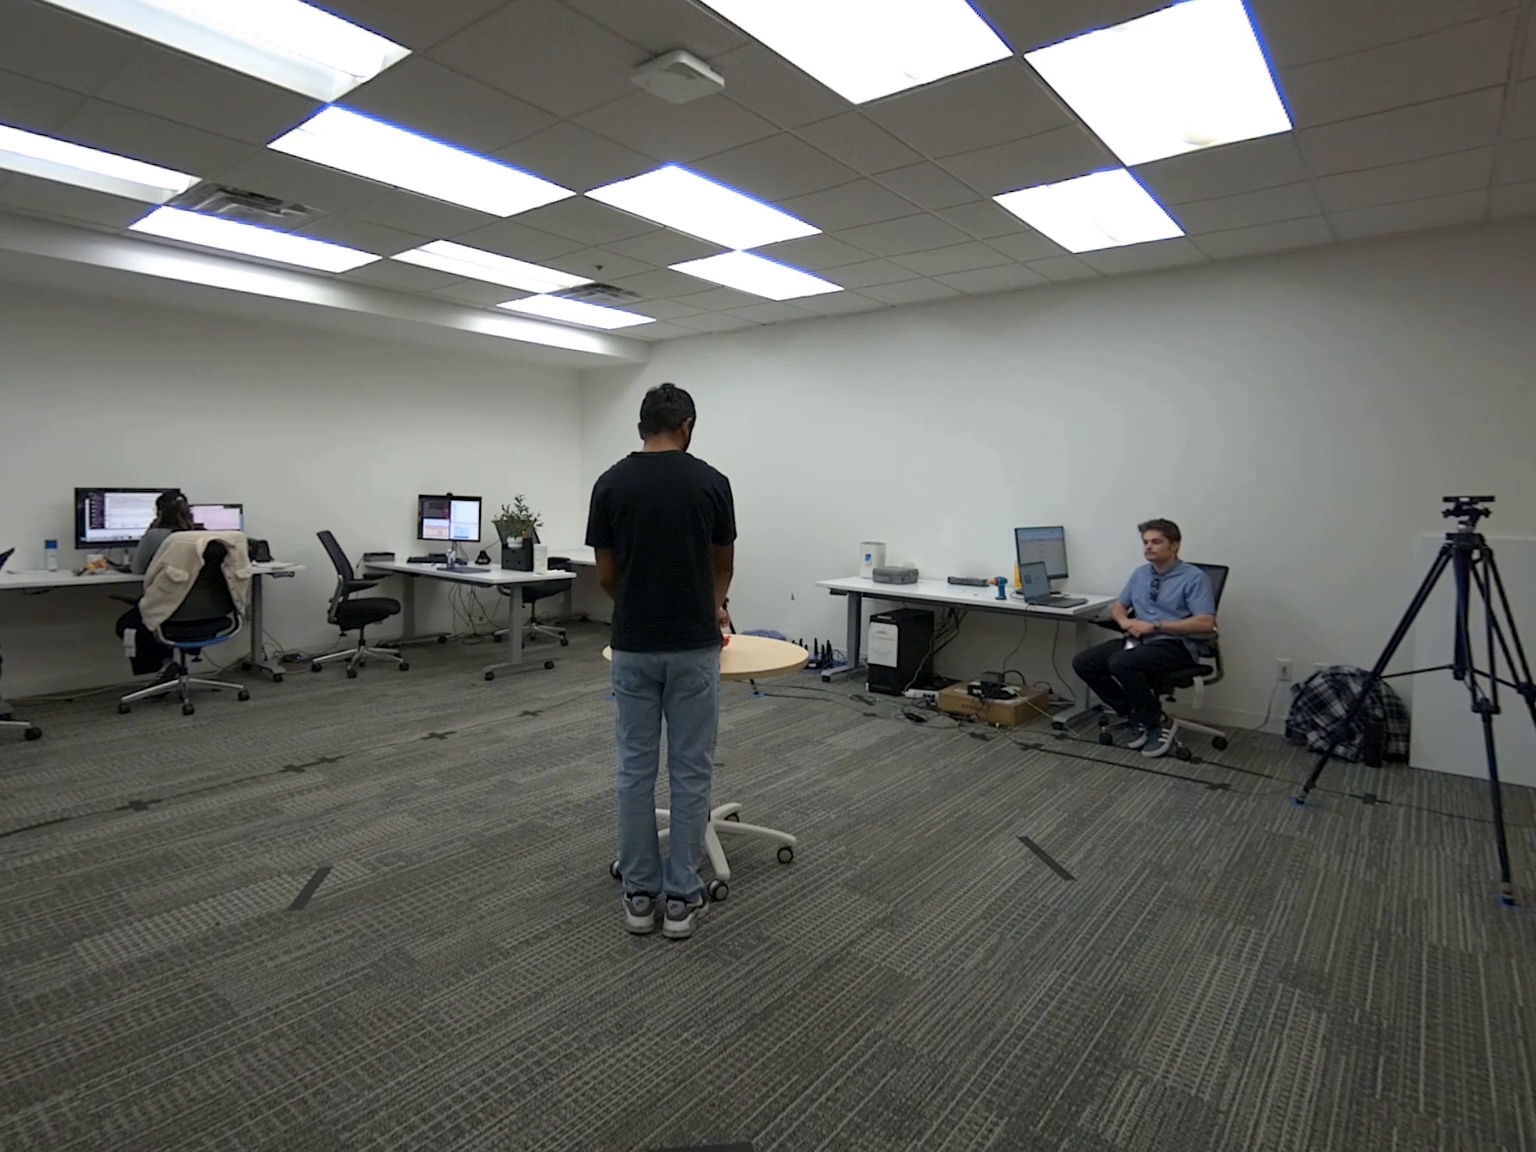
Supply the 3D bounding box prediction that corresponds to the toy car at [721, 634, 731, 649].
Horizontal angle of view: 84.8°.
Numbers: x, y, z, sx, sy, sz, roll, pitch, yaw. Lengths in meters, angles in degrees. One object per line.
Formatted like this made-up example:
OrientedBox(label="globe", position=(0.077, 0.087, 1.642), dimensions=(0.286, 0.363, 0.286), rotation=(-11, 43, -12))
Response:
OrientedBox(label="toy car", position=(-0.265, 0.249, 3.140), dimensions=(0.249, 0.082, 0.134), rotation=(-16, 13, -30))
